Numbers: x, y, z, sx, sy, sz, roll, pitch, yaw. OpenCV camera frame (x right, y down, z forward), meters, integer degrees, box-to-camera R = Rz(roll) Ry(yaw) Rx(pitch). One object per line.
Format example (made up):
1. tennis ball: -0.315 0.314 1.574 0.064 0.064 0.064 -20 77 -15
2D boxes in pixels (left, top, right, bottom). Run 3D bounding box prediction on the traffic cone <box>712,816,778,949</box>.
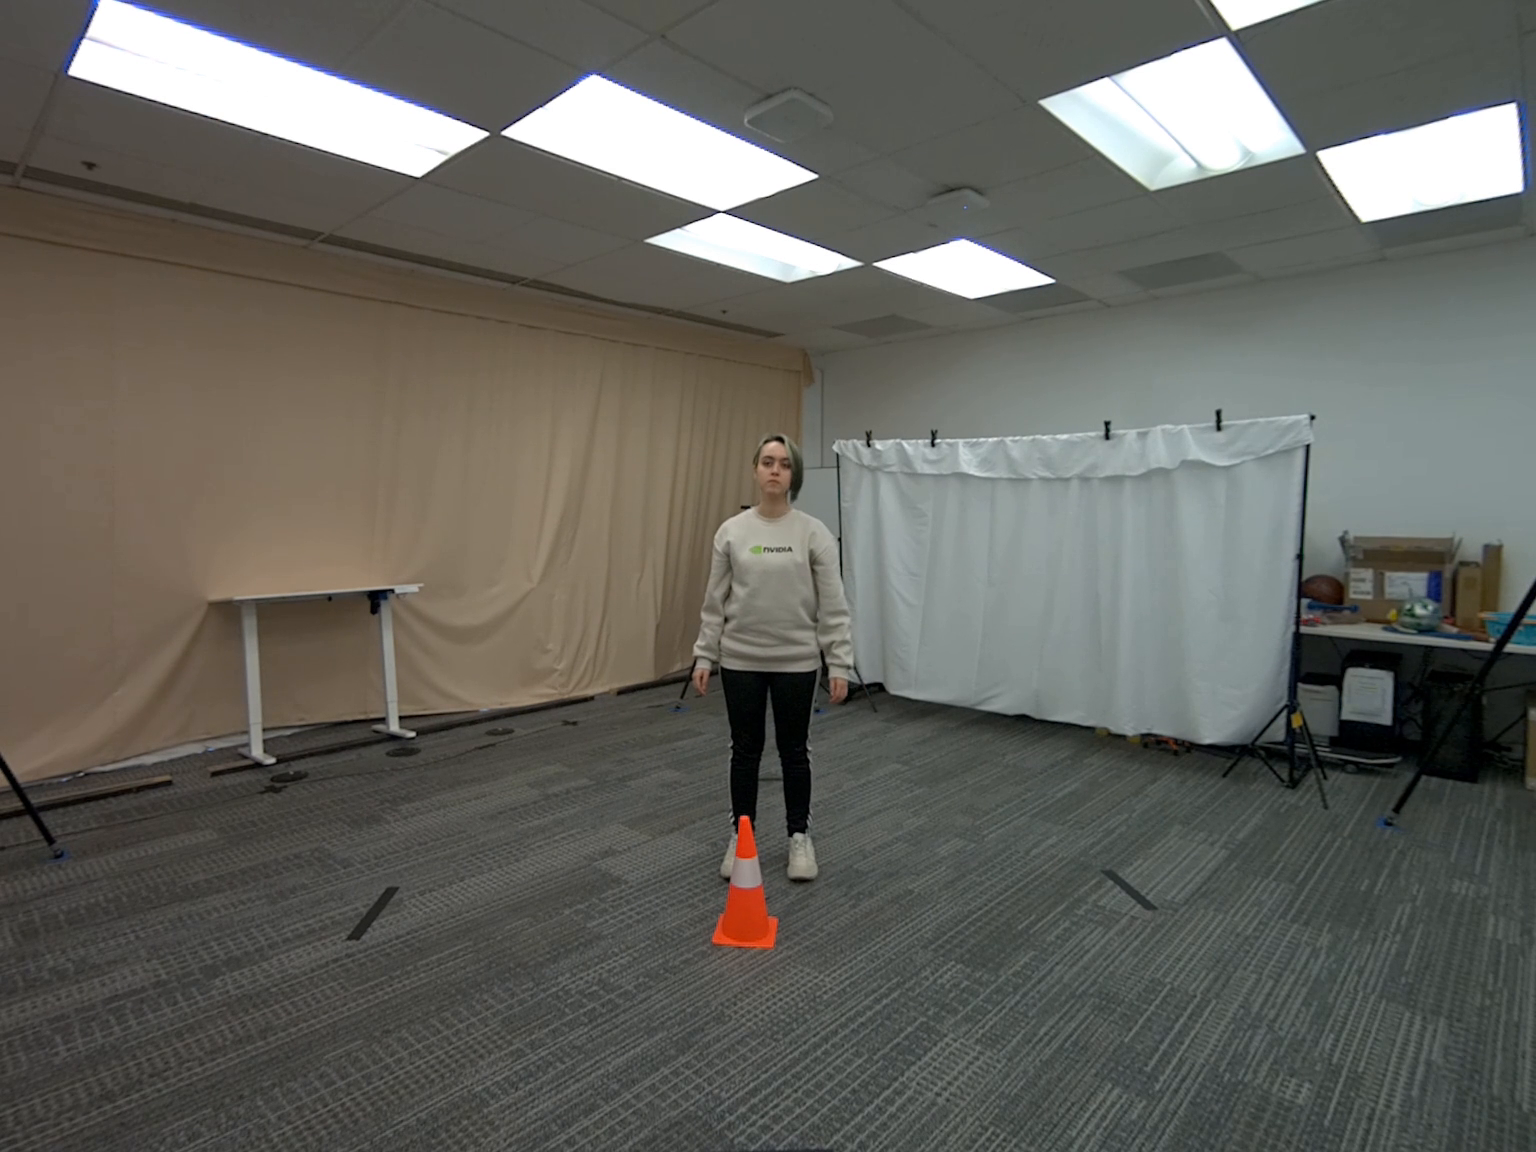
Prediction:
1. traffic cone: -0.073 0.977 2.749 0.207 0.383 0.202 -1 3 8
